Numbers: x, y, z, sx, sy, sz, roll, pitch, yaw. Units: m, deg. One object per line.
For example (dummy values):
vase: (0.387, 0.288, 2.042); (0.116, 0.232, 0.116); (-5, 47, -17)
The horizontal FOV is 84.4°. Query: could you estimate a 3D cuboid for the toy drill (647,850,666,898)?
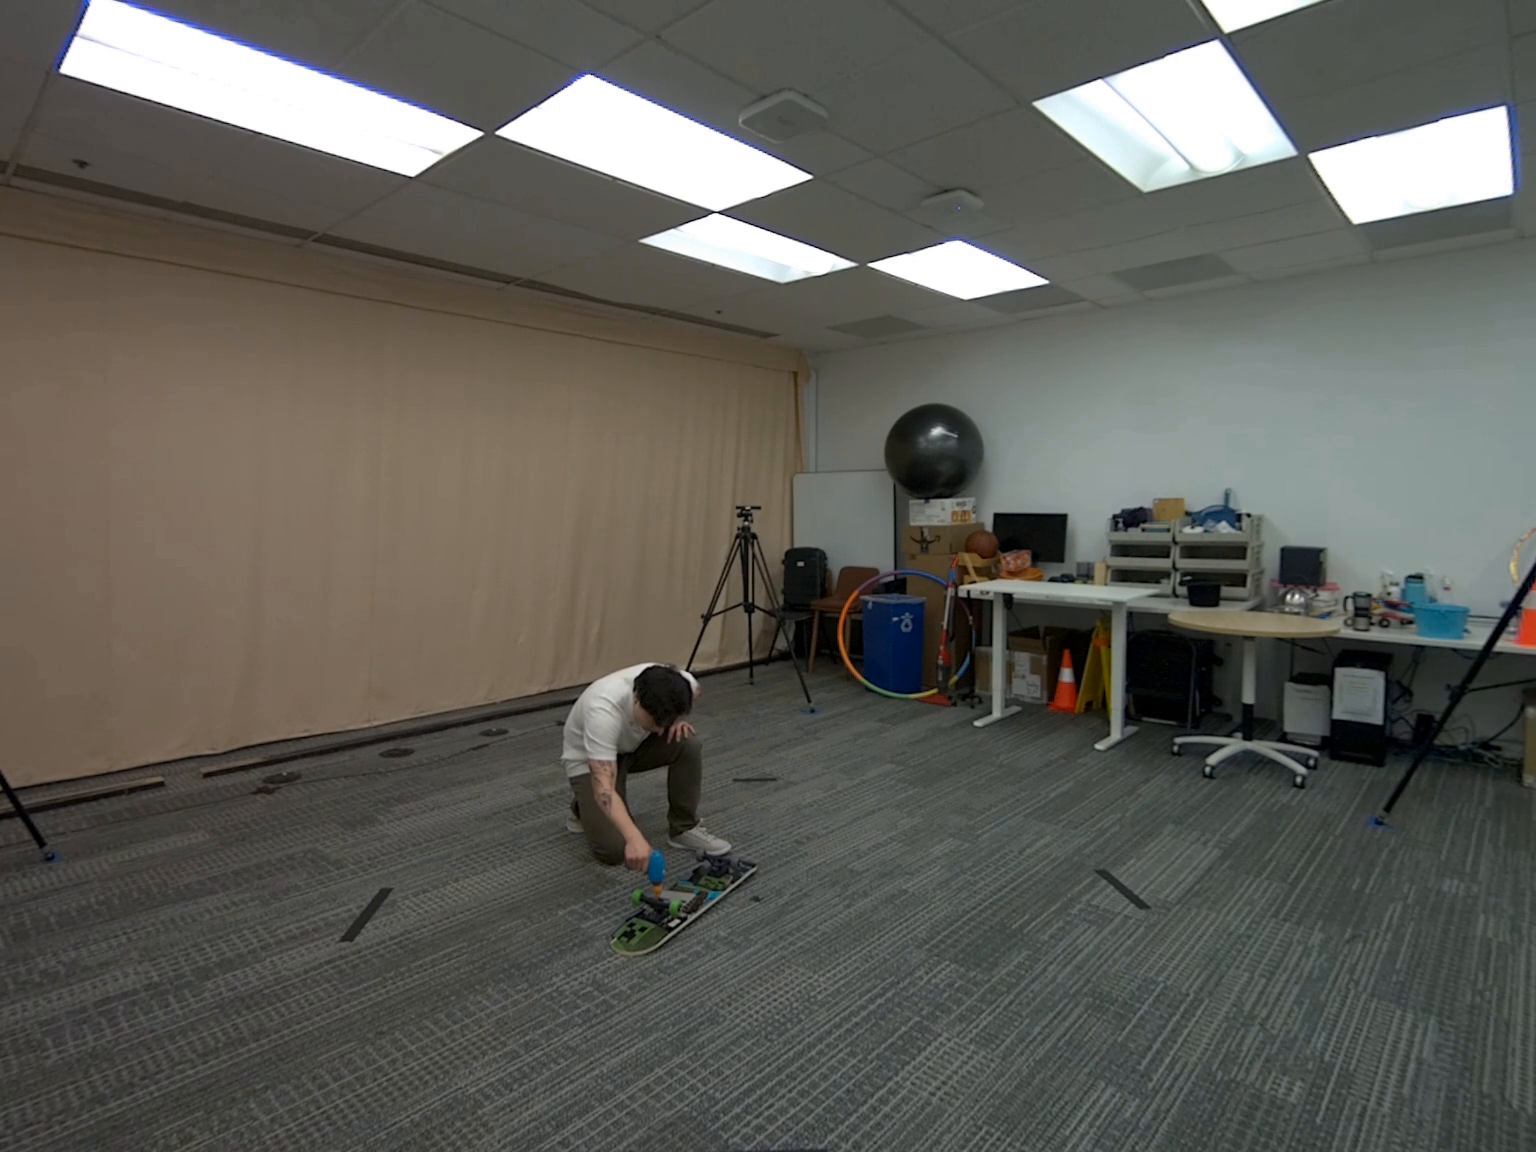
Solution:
toy drill: (-0.411, 0.999, 2.848); (0.150, 0.169, 0.060); (2, 8, 28)
